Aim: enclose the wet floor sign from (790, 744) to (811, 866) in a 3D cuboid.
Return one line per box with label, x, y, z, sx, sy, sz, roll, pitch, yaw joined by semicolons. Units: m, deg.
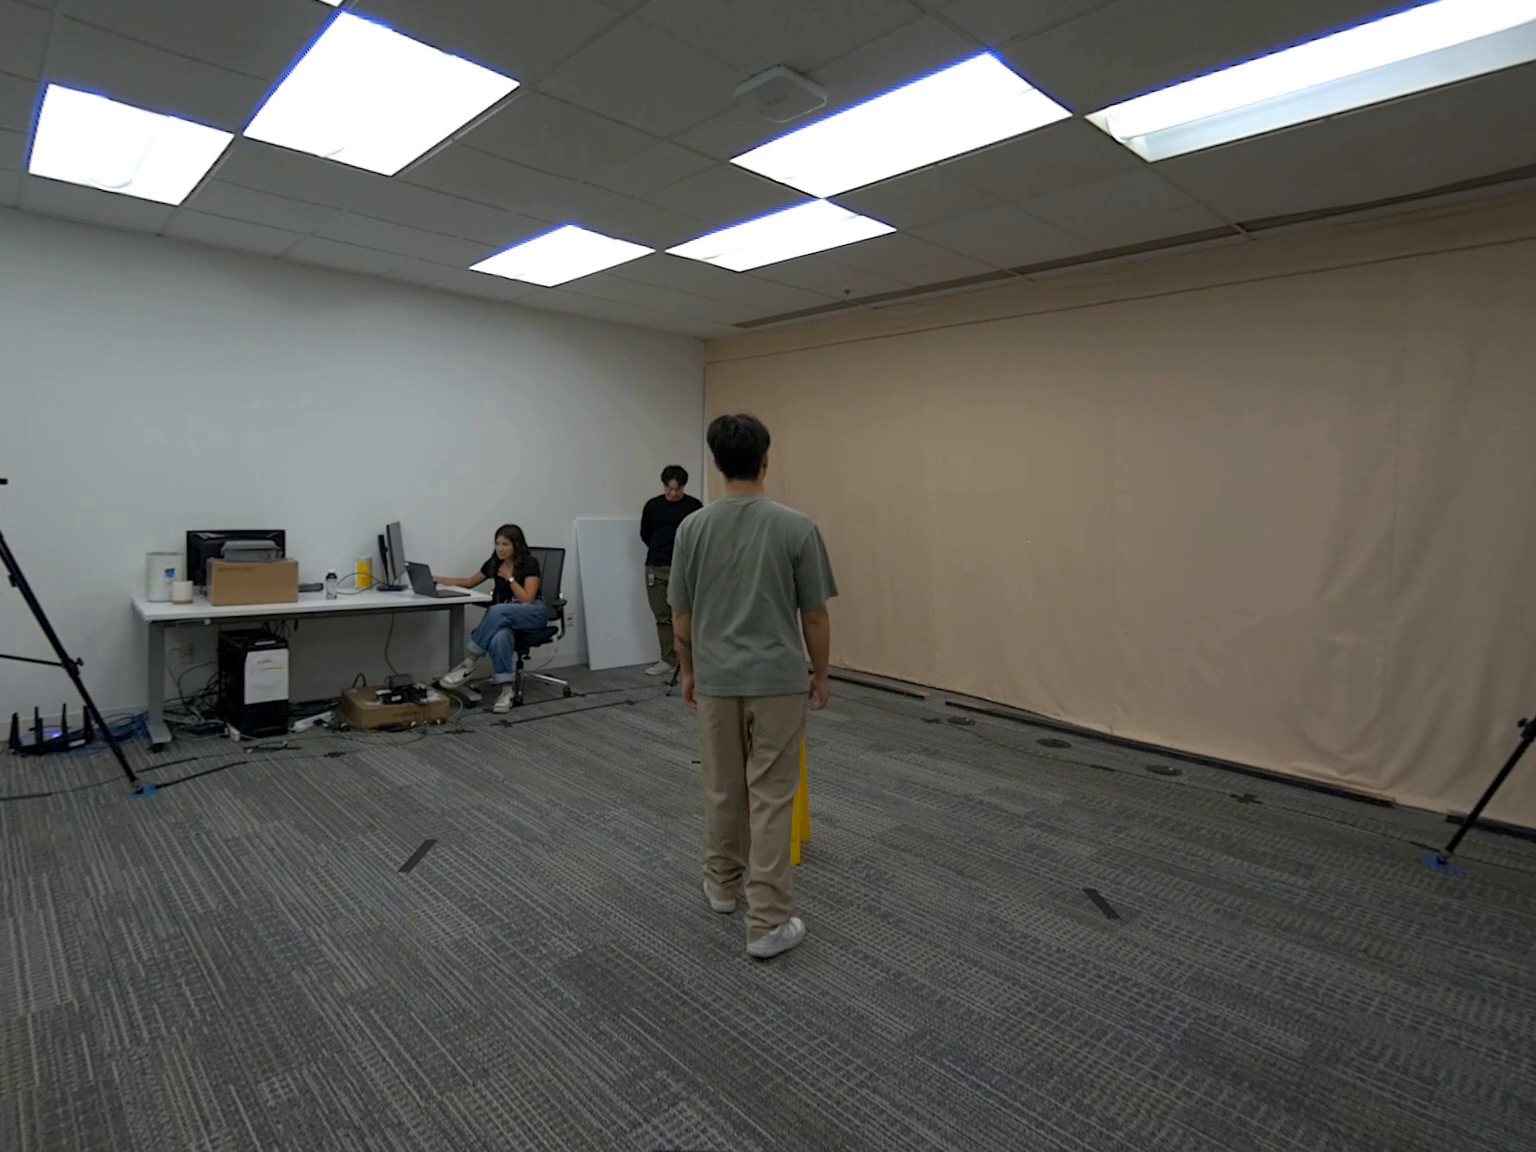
wet floor sign;0.011;0.771;3.354;0.285;0.645;0.287;3;2;13
